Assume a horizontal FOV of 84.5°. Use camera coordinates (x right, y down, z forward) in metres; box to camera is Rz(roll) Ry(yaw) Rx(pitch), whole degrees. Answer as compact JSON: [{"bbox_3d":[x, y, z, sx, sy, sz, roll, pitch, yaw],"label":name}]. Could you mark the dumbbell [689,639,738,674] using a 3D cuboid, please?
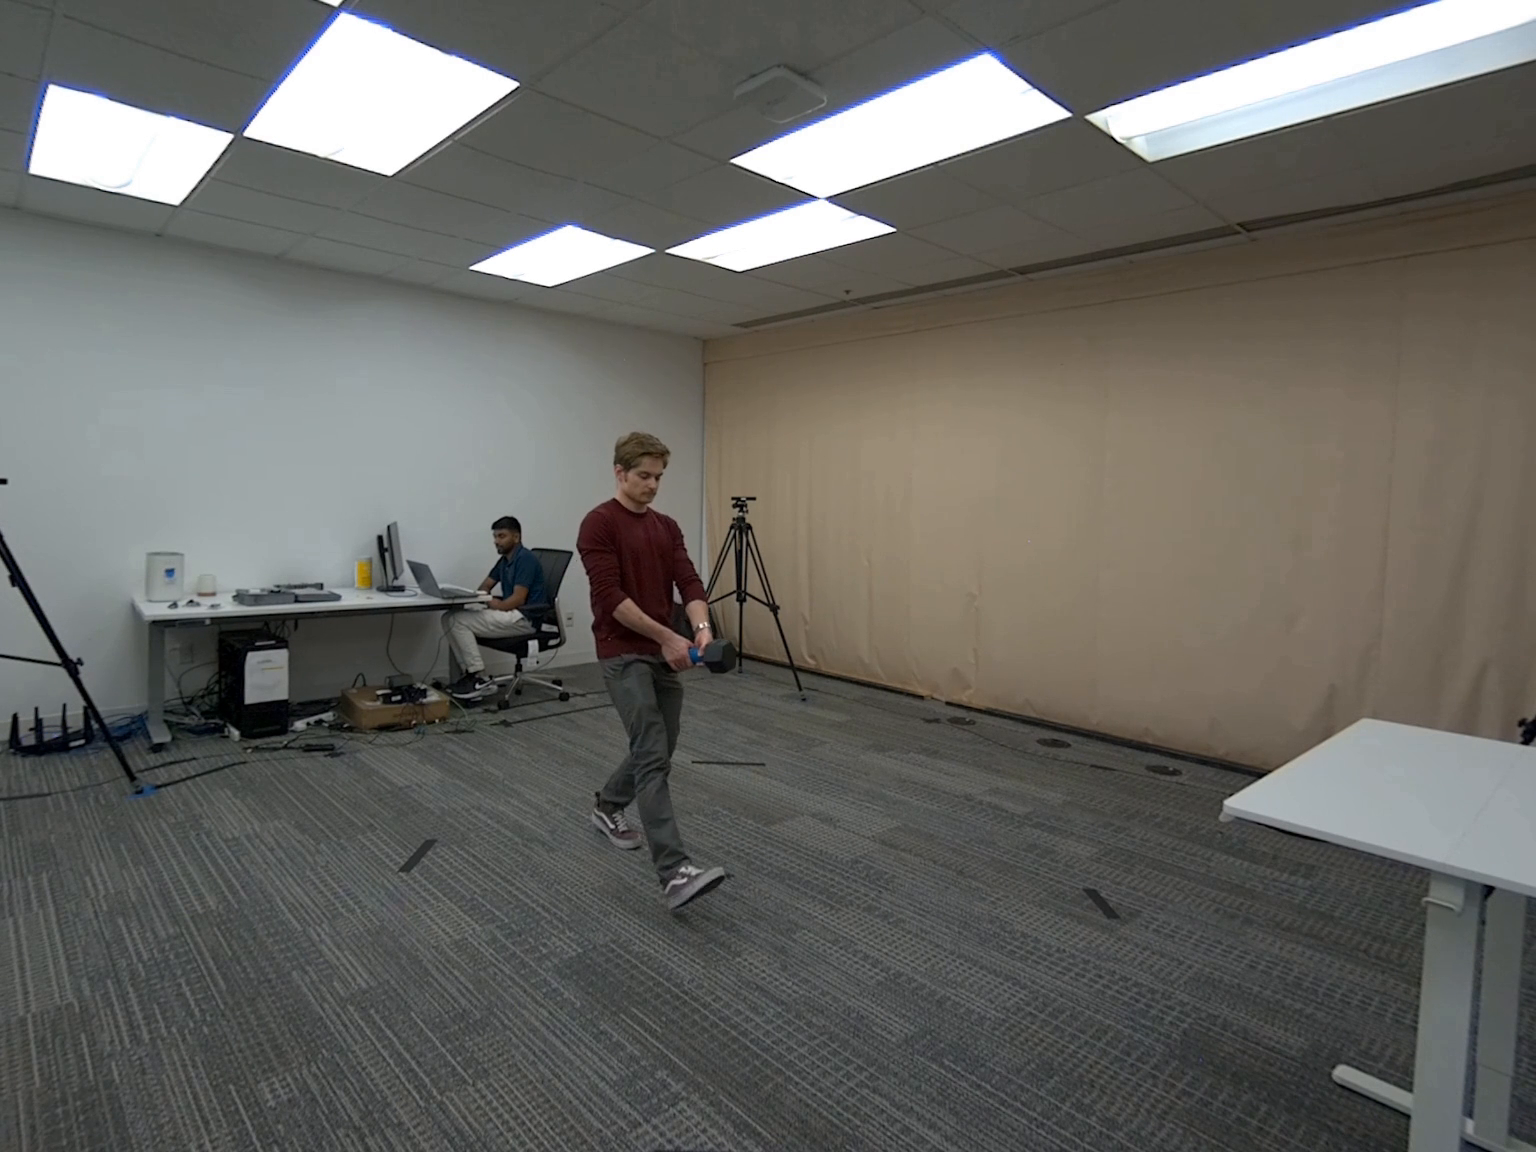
[{"bbox_3d":[-0.265,0.294,2.990,0.299,0.120,0.109,-6,40,38],"label":"dumbbell"}]
